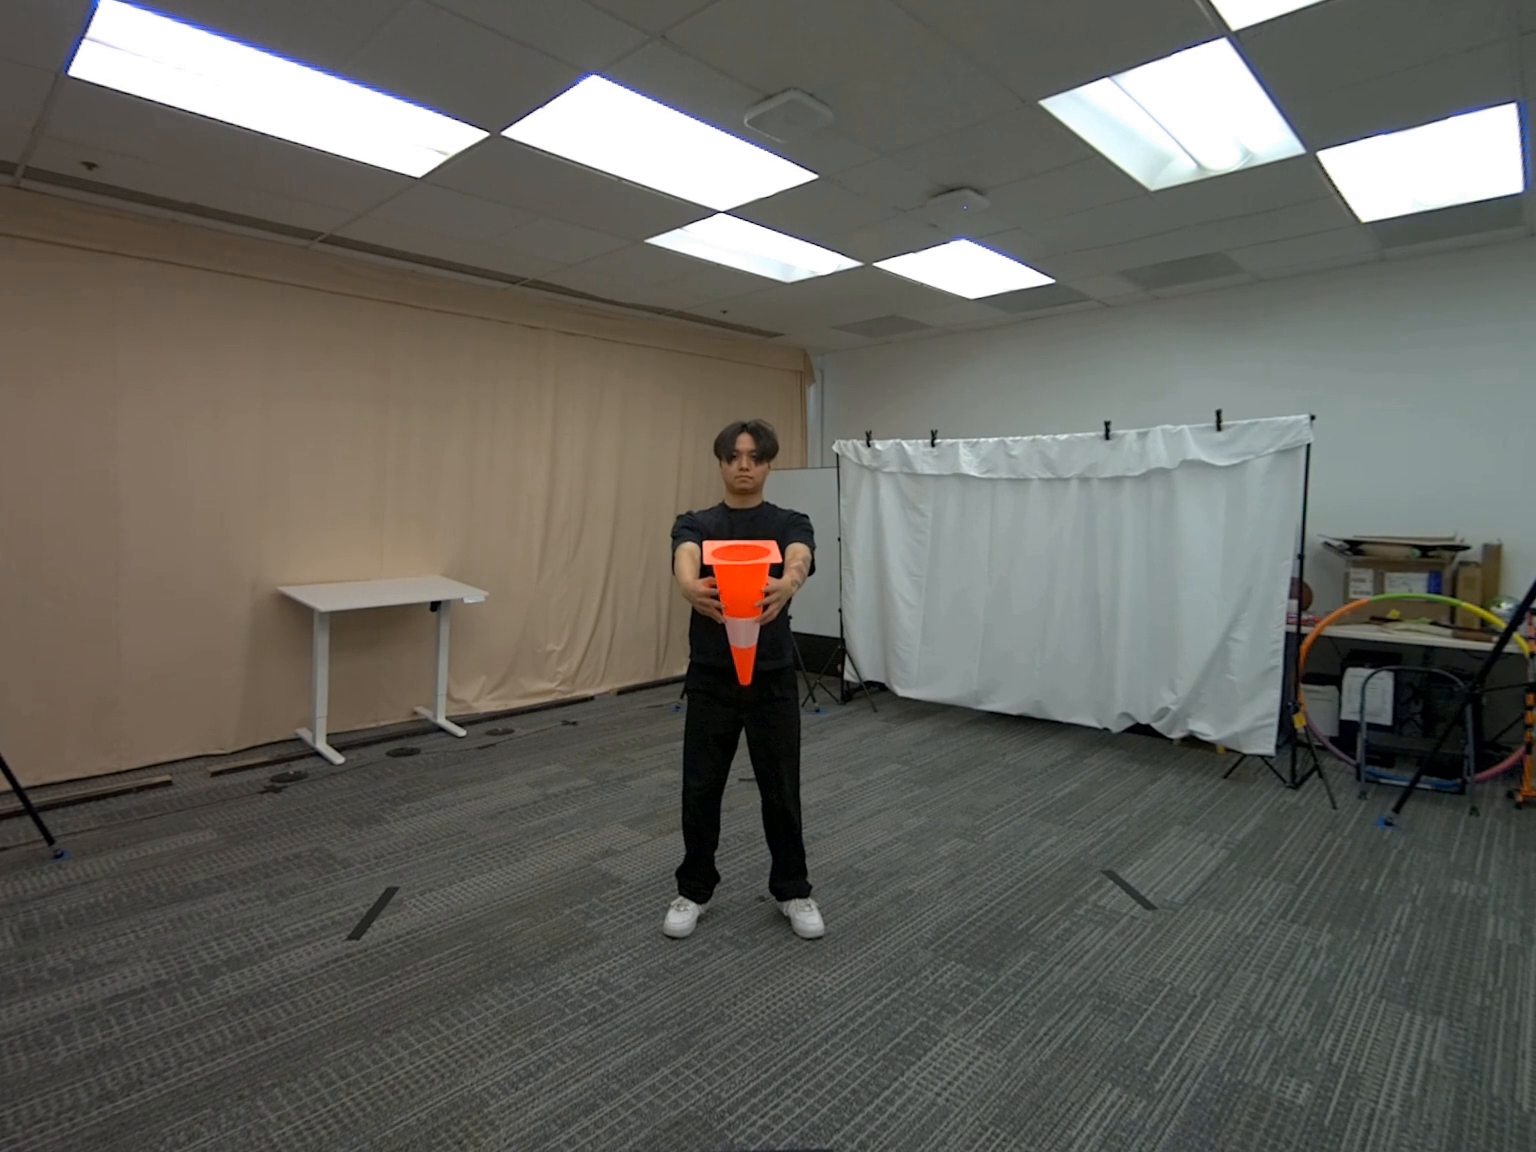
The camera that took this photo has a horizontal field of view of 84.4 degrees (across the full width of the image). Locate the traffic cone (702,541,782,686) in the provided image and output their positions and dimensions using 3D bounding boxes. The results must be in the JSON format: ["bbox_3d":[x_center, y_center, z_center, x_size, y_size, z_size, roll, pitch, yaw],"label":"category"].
[{"bbox_3d":[-0.068,0.124,2.249,0.205,0.380,0.205,2,17,0],"label":"traffic cone"}]
